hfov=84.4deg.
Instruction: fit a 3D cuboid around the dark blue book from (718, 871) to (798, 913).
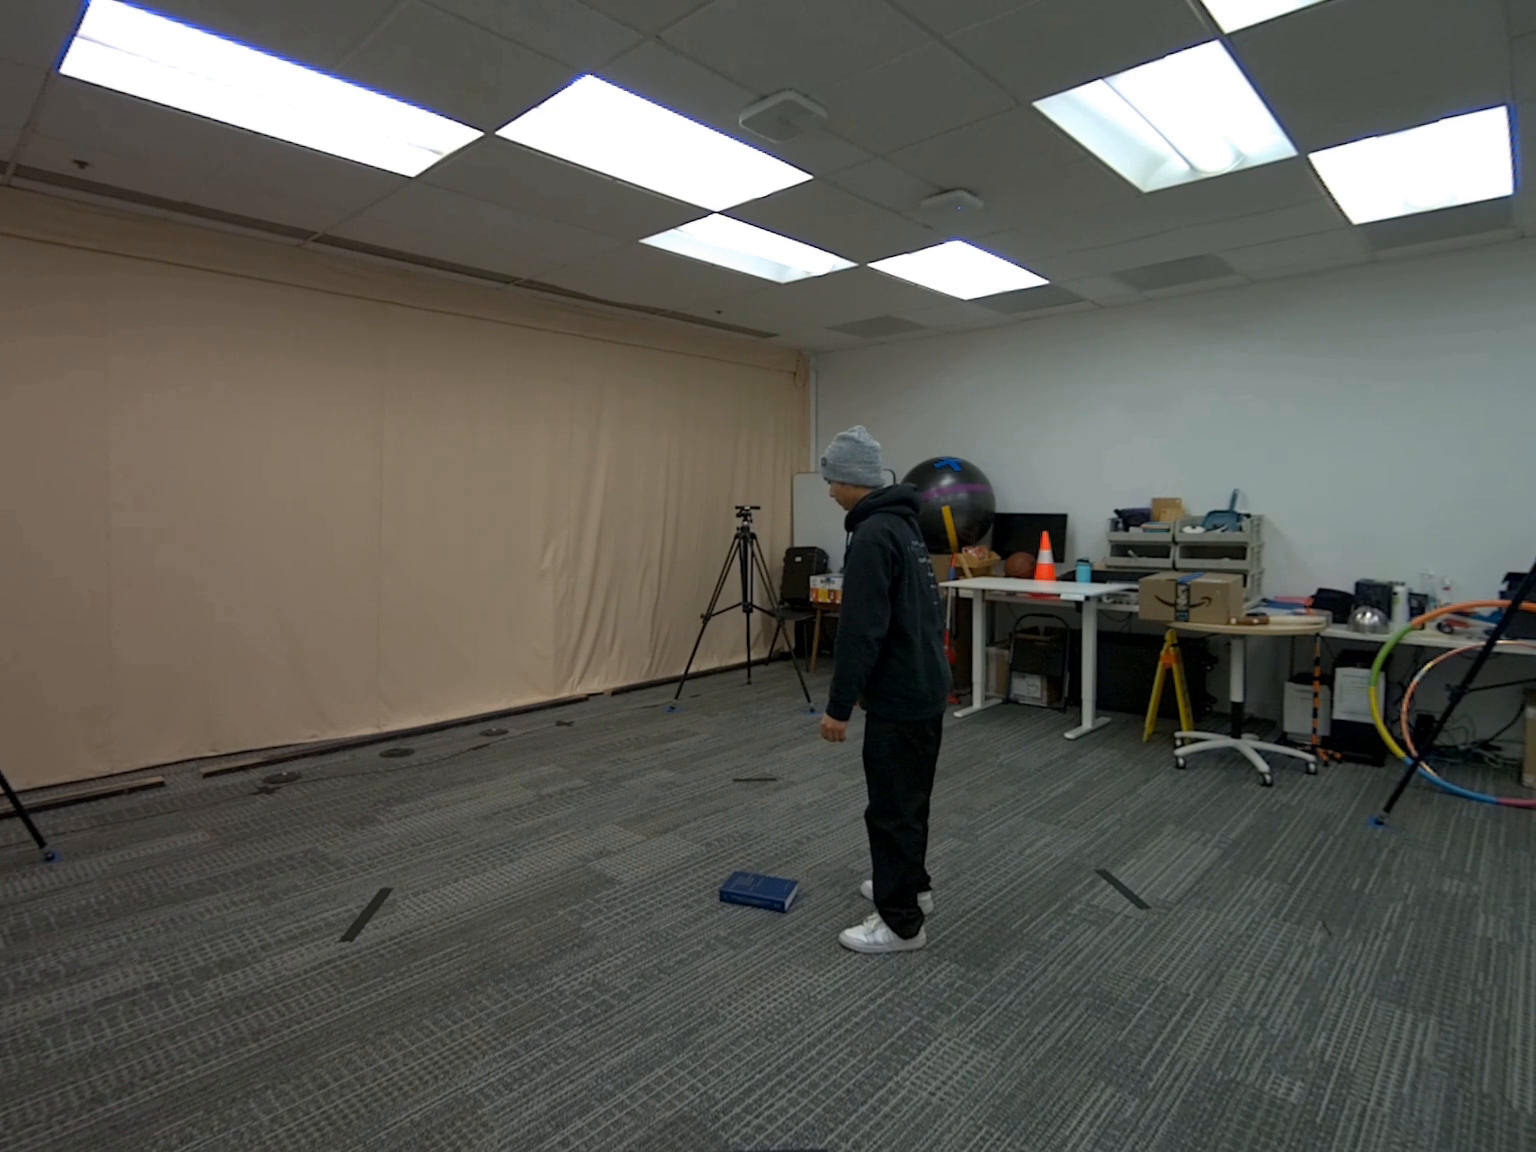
[{"bbox_3d":[-0.028,1.117,2.993,0.250,0.045,0.160,1,5,20],"label":"dark blue book"}]
